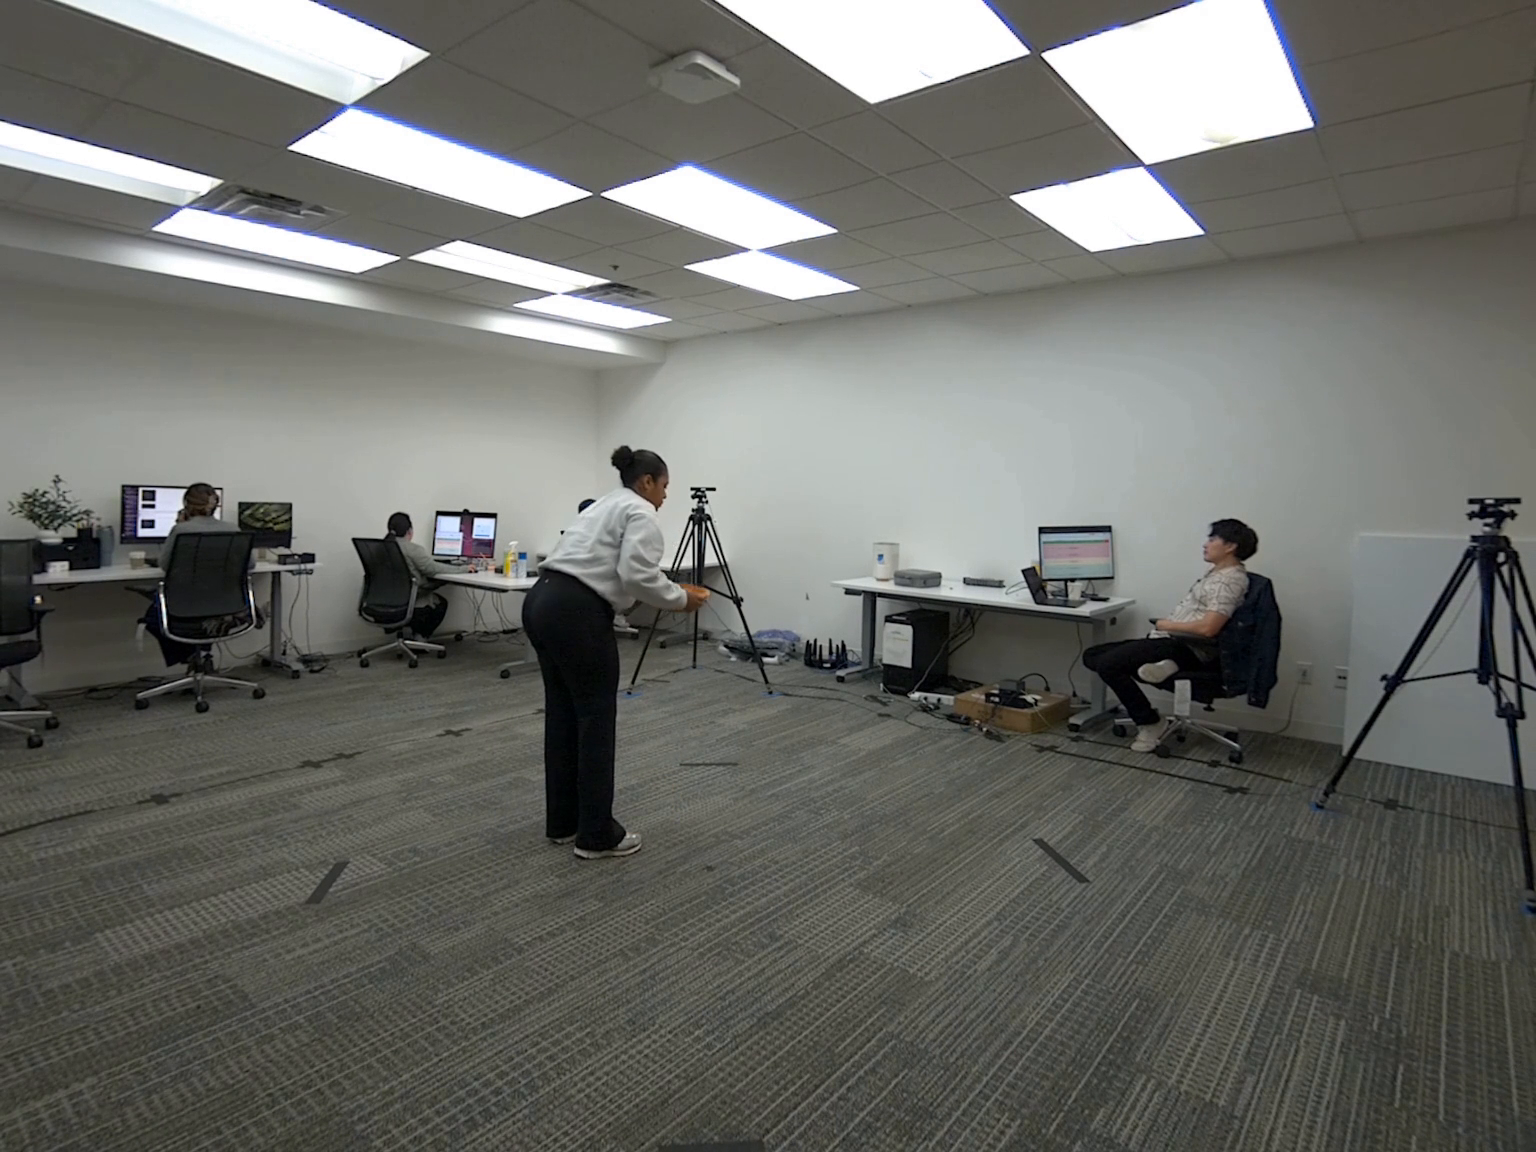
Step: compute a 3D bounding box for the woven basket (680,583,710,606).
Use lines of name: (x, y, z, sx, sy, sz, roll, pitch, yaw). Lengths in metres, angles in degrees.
woven basket: (-0.433, 0.101, 3.503, 0.245, 0.073, 0.363, -6, 11, -38)
